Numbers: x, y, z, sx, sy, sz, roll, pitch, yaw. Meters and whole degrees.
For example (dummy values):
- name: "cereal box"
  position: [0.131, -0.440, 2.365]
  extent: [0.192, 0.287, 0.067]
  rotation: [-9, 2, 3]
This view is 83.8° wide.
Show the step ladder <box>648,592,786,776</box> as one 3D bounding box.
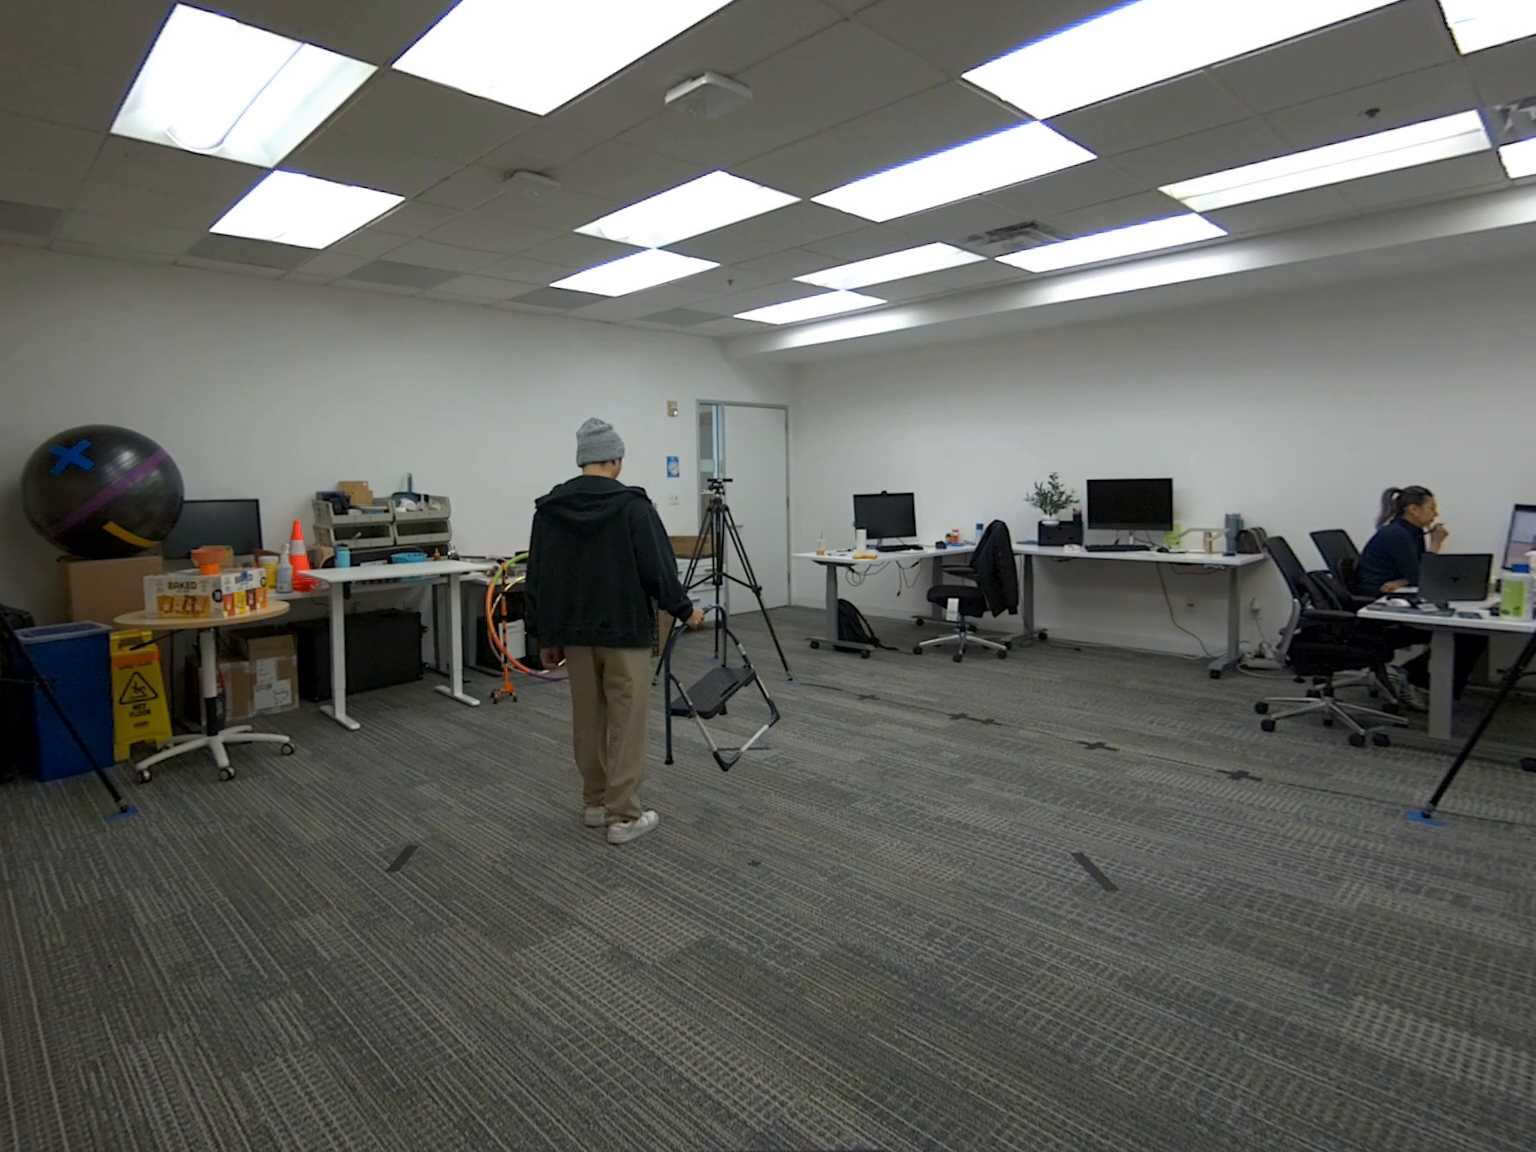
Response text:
- name: "step ladder"
  position: [-0.257, 0.436, 3.622]
  extent: [0.358, 0.596, 0.427]
  rotation: [-3, 20, 38]
